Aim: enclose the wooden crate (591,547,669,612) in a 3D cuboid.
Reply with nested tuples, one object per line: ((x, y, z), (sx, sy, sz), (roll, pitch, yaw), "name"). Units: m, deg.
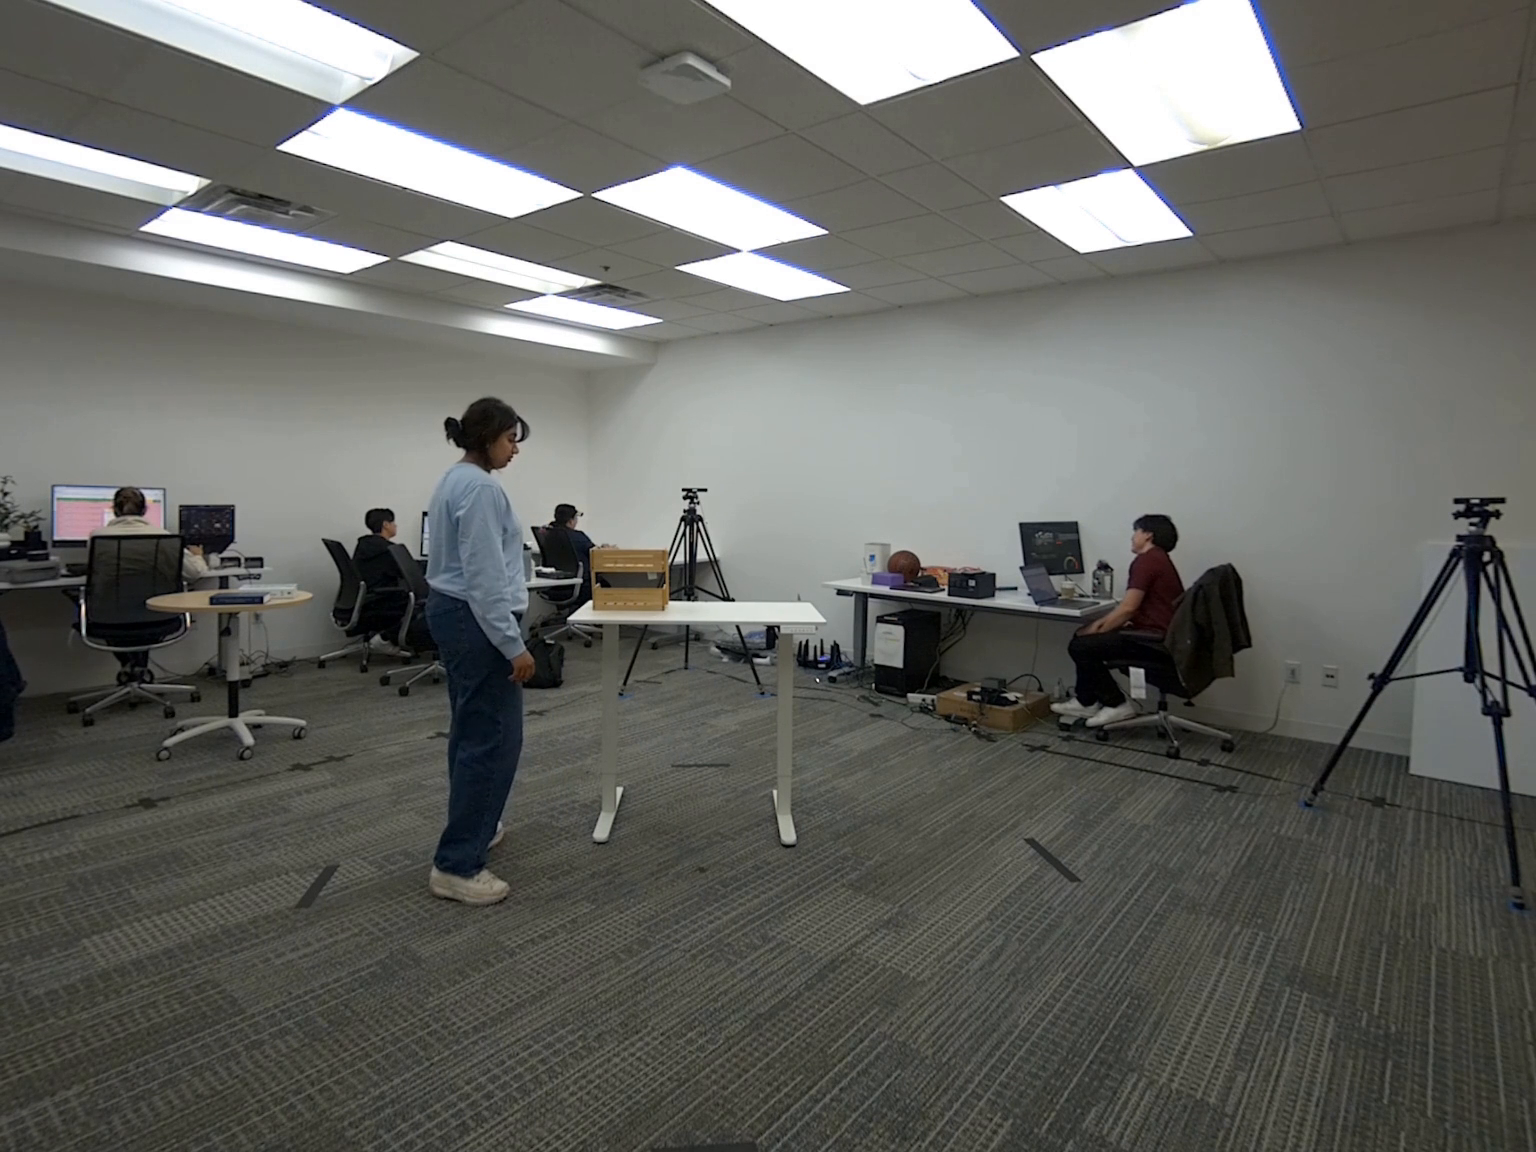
((-0.605, -0.004, 3.642), (0.323, 0.272, 0.305), (0, 6, -4), "wooden crate")
